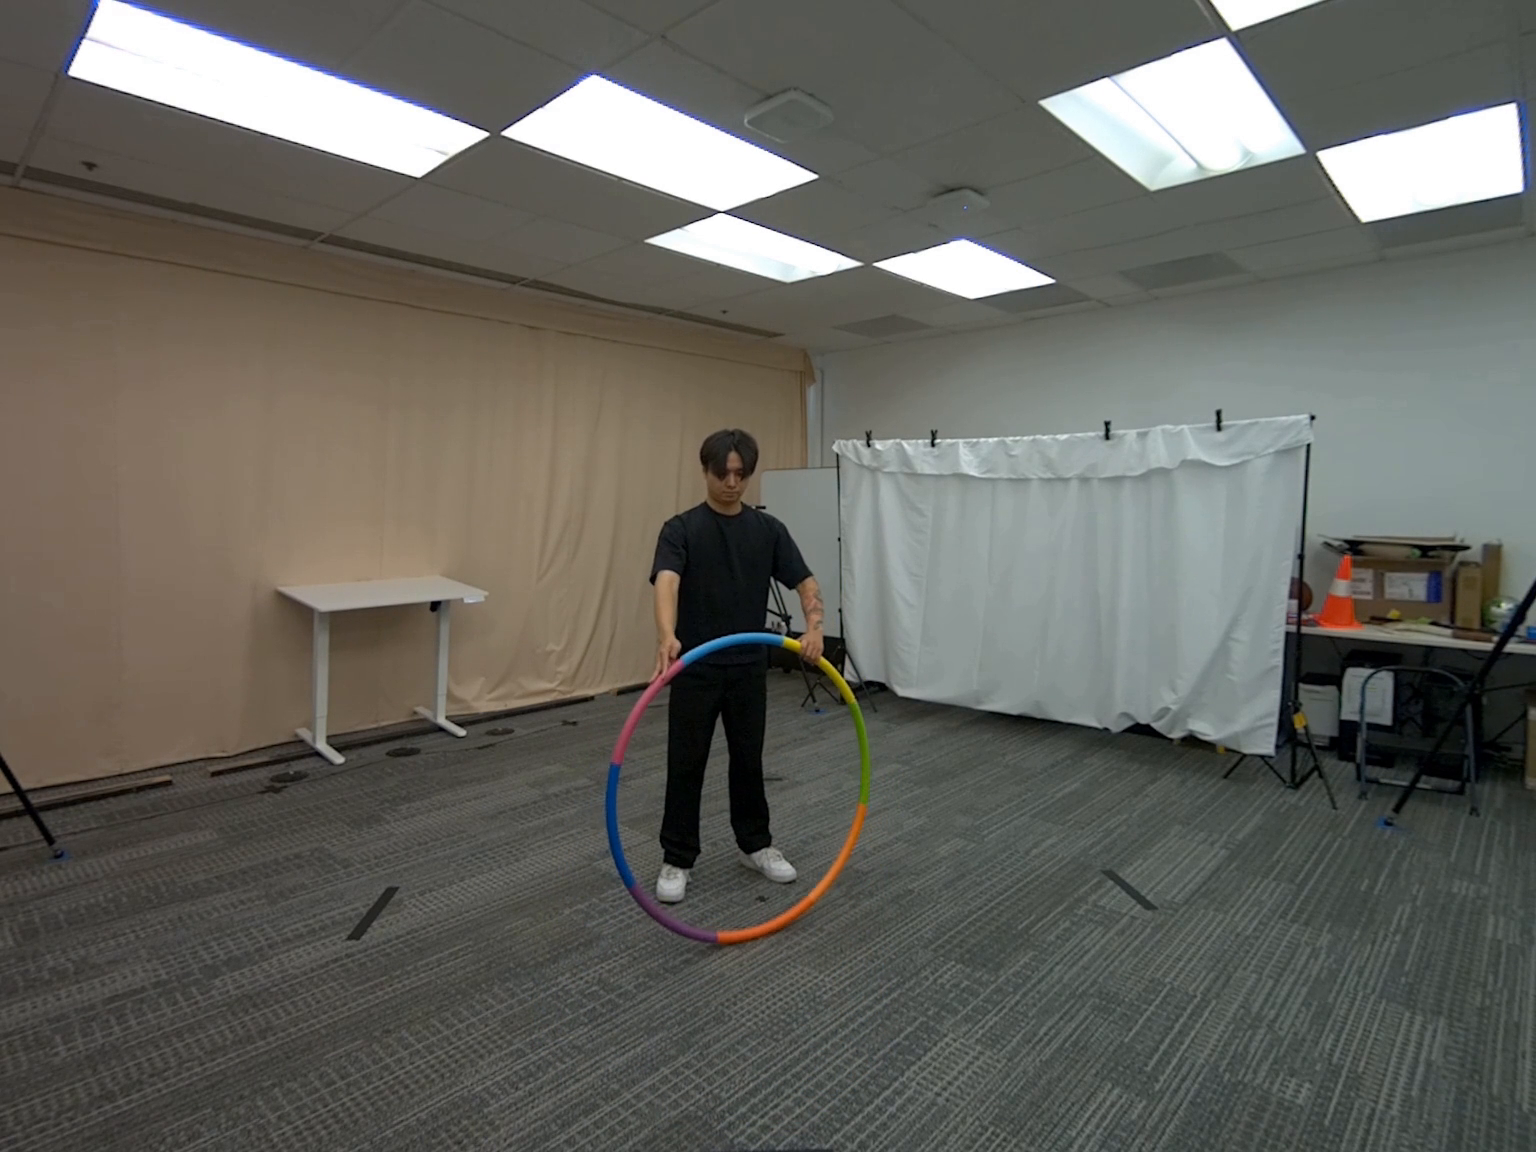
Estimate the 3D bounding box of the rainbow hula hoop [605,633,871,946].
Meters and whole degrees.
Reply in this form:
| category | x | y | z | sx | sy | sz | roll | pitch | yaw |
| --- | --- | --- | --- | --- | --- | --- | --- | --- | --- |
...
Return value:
| category | x | y | z | sx | sy | sz | roll | pitch | yaw |
| --- | --- | --- | --- | --- | --- | --- | --- | --- | --- |
| rainbow hula hoop | -0.052 | 0.678 | 2.712 | 0.952 | 0.978 | 0.036 | -2 | 2 | -30 |
